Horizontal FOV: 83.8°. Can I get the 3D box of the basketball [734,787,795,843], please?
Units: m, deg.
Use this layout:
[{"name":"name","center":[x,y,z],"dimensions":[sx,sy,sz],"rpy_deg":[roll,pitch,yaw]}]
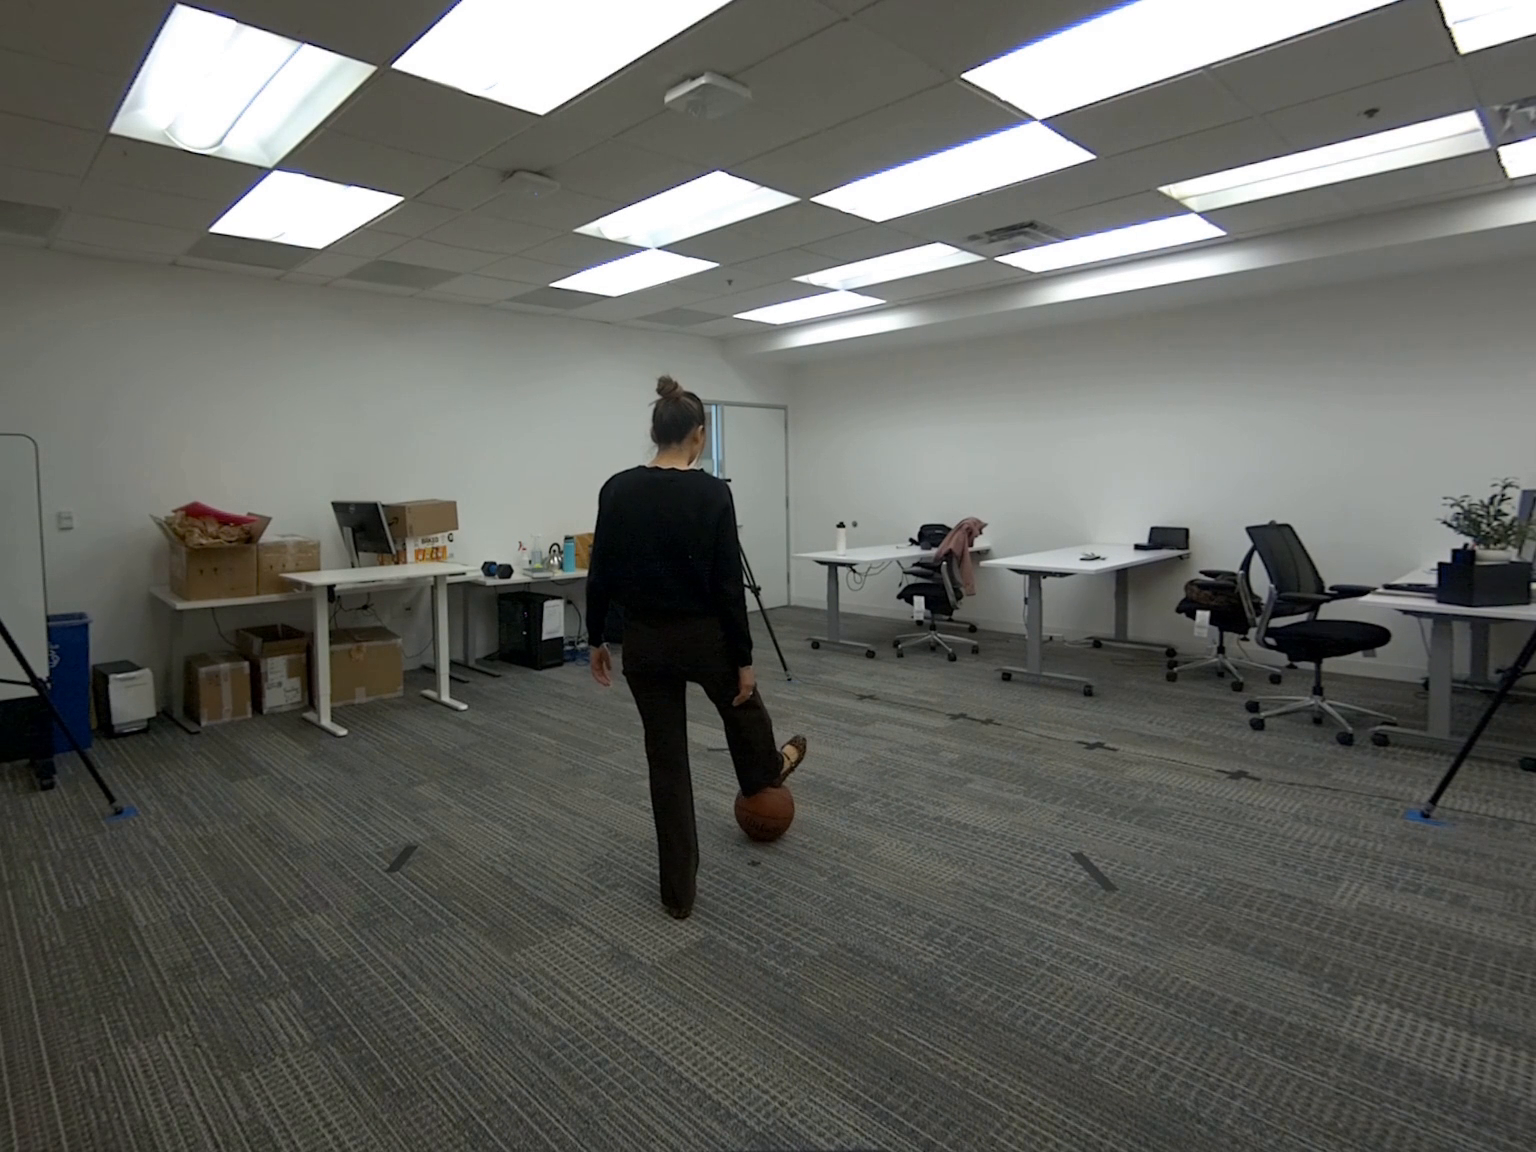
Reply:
[{"name":"basketball","center":[-0.013,0.906,3.332],"dimensions":[0.236,0.235,0.237],"rpy_deg":[-1,5,-2]}]
